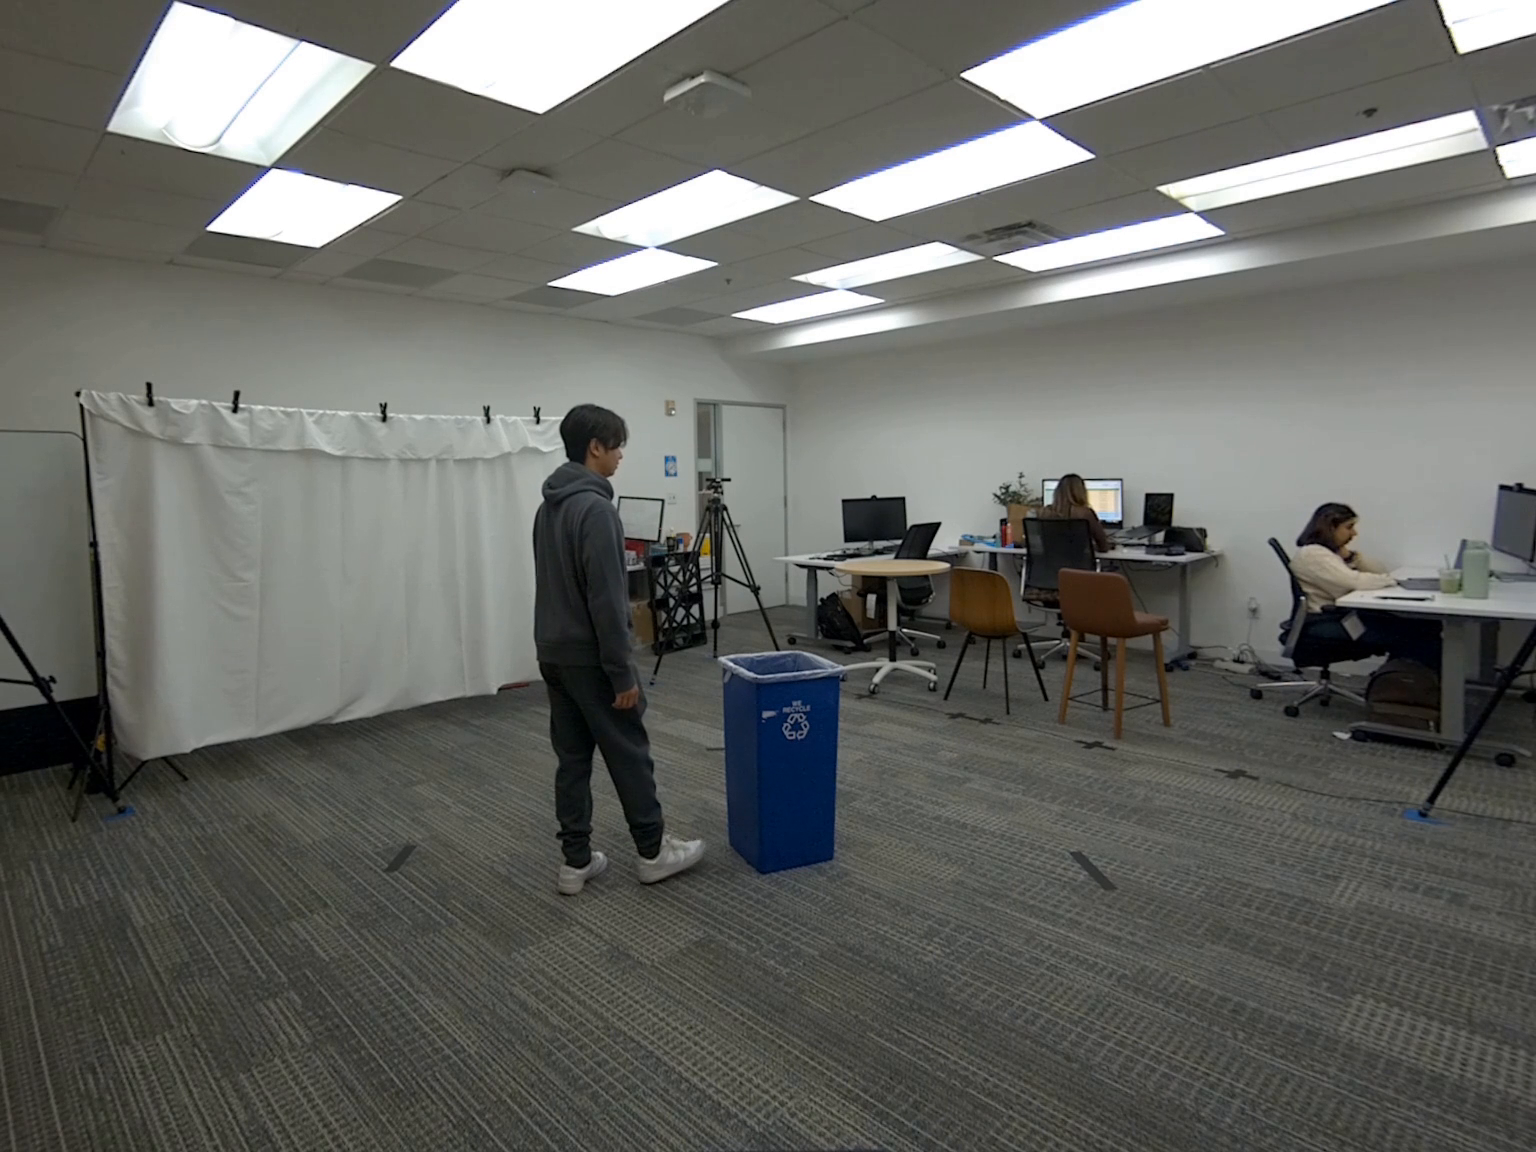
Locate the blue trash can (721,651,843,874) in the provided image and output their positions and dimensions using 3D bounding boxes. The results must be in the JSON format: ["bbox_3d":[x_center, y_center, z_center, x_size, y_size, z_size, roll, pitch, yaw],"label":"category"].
[{"bbox_3d":[0.049,0.673,3.187,0.366,0.710,0.387,-3,5,-24],"label":"blue trash can"}]
